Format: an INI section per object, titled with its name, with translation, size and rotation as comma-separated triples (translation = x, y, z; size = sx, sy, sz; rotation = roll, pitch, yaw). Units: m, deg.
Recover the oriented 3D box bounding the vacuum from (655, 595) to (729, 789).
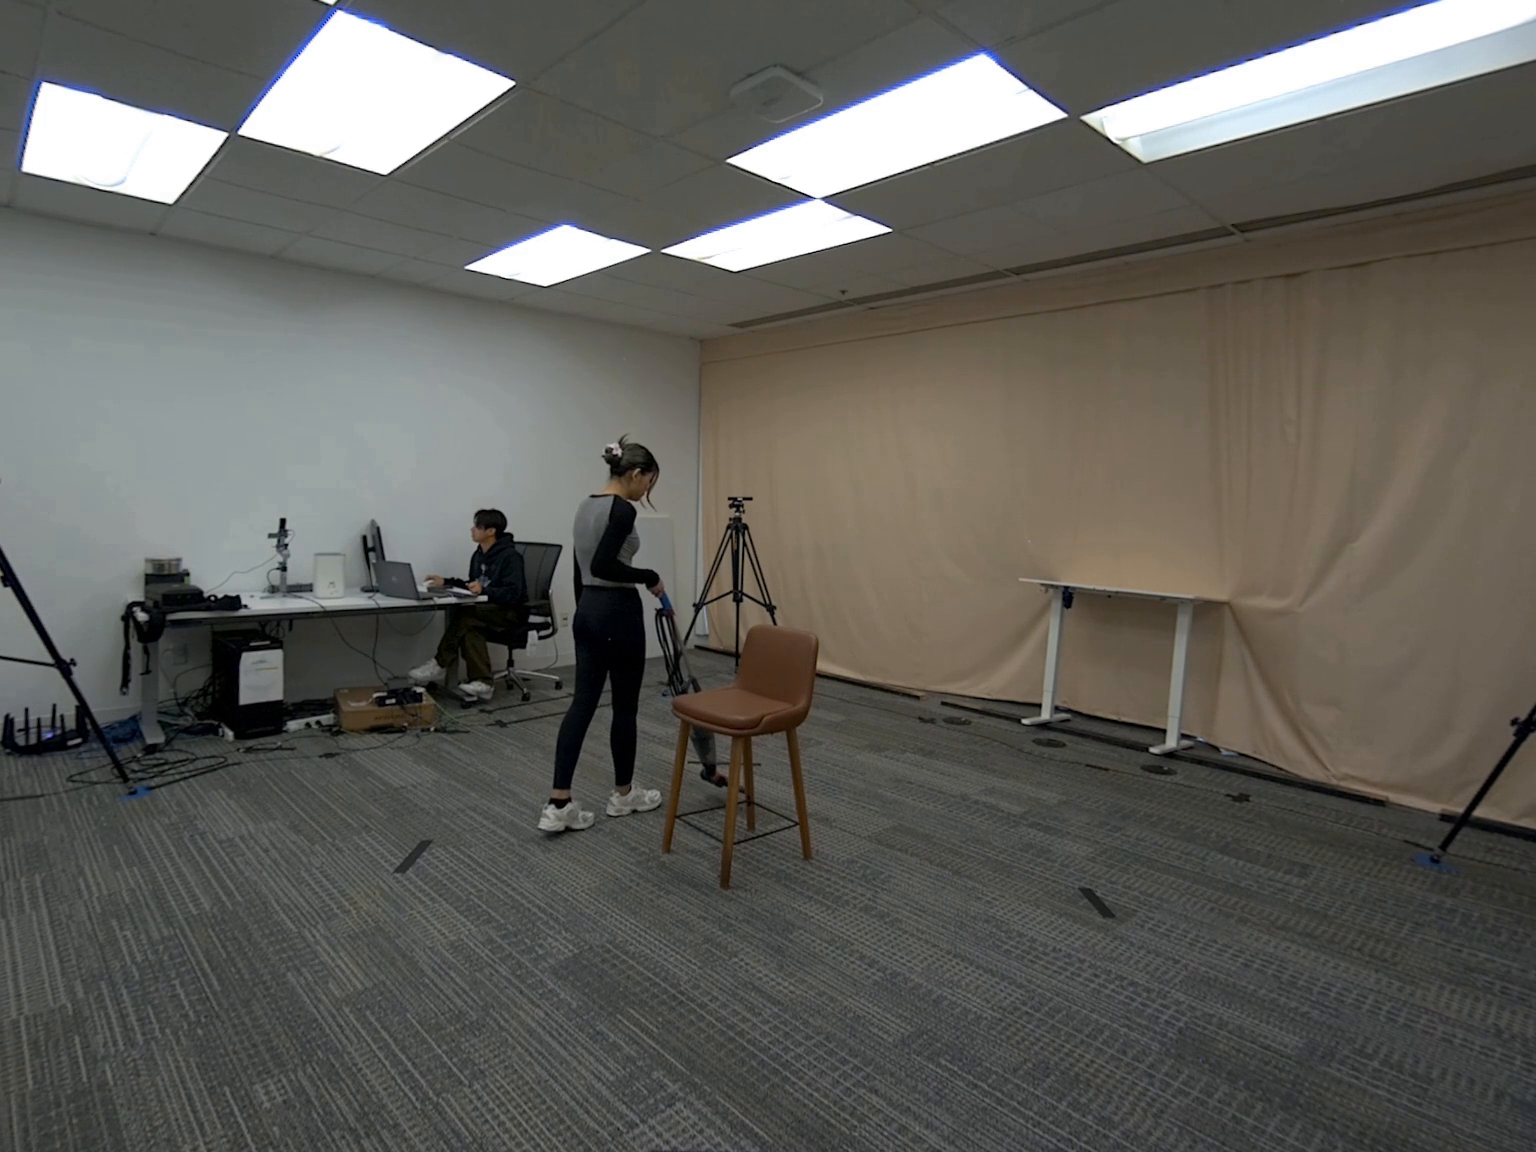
[vacuum]
translation = -0.370, 0.474, 3.697
size = 0.142, 1.032, 0.259
rotation = -29, 24, -37
